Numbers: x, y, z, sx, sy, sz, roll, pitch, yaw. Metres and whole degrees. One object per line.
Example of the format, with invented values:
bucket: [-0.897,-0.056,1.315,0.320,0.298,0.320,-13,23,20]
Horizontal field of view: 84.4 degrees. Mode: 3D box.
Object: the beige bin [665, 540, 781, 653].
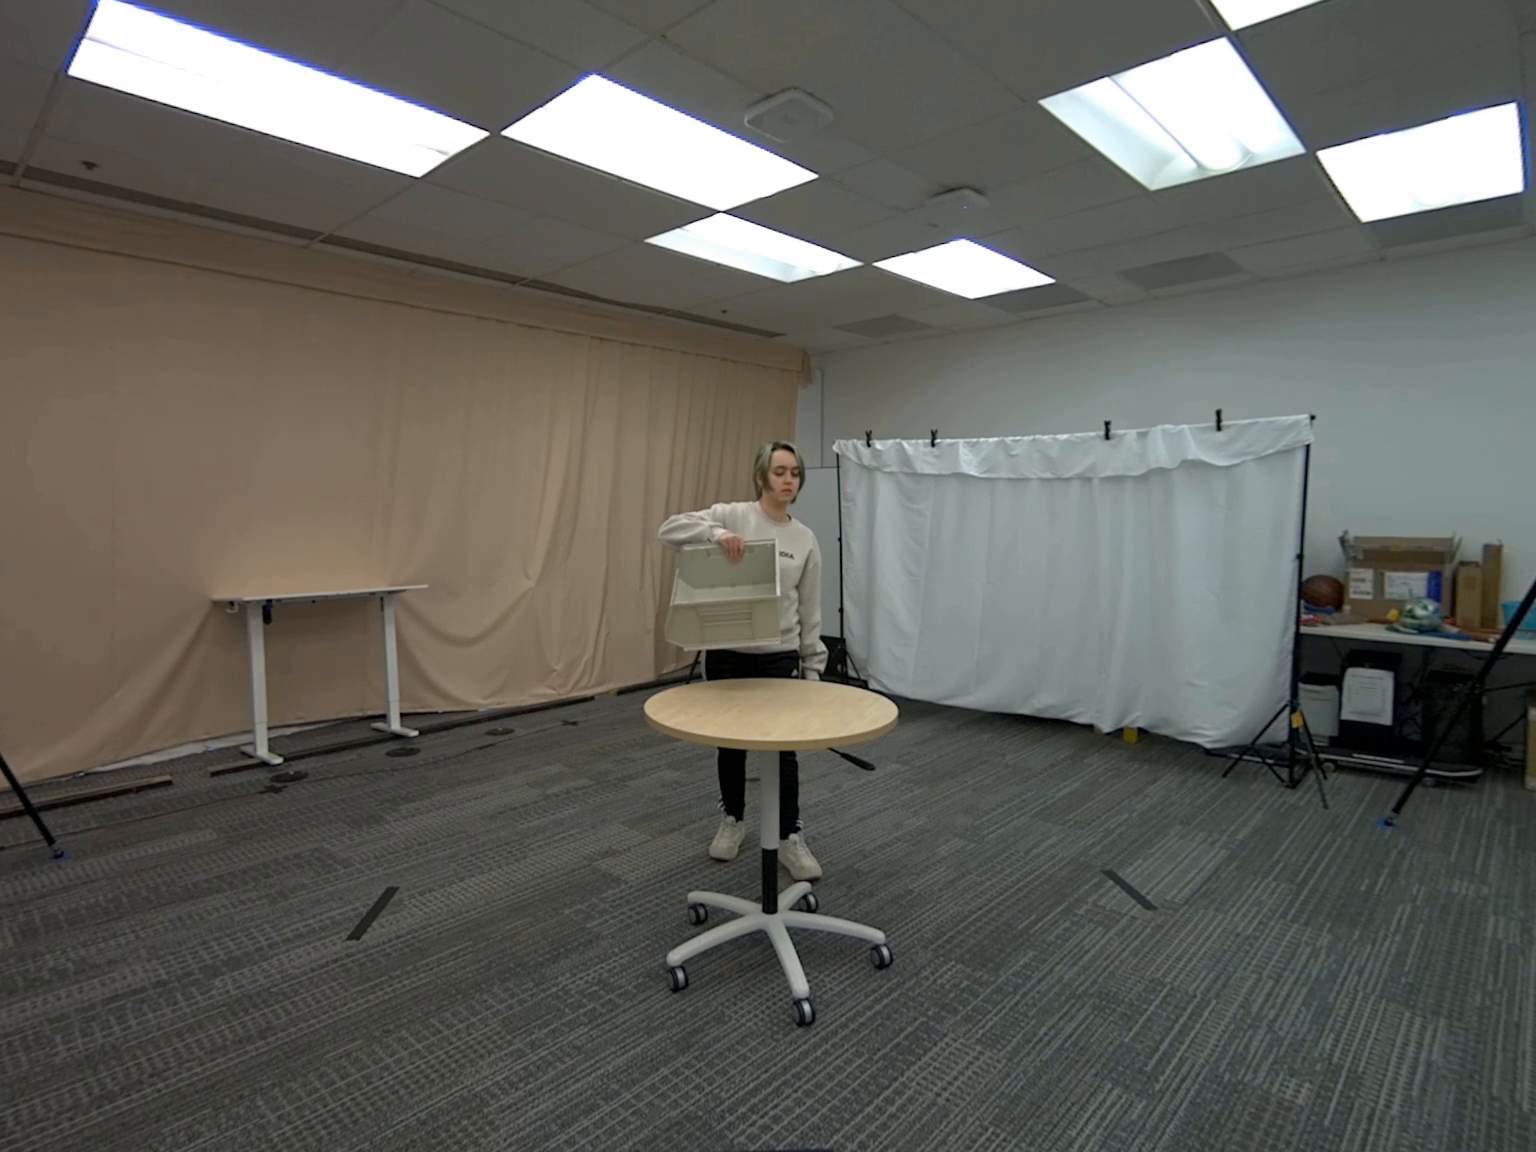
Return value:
beige bin: [-0.143,0.055,2.834,0.378,0.186,0.429,-3,27,1]
